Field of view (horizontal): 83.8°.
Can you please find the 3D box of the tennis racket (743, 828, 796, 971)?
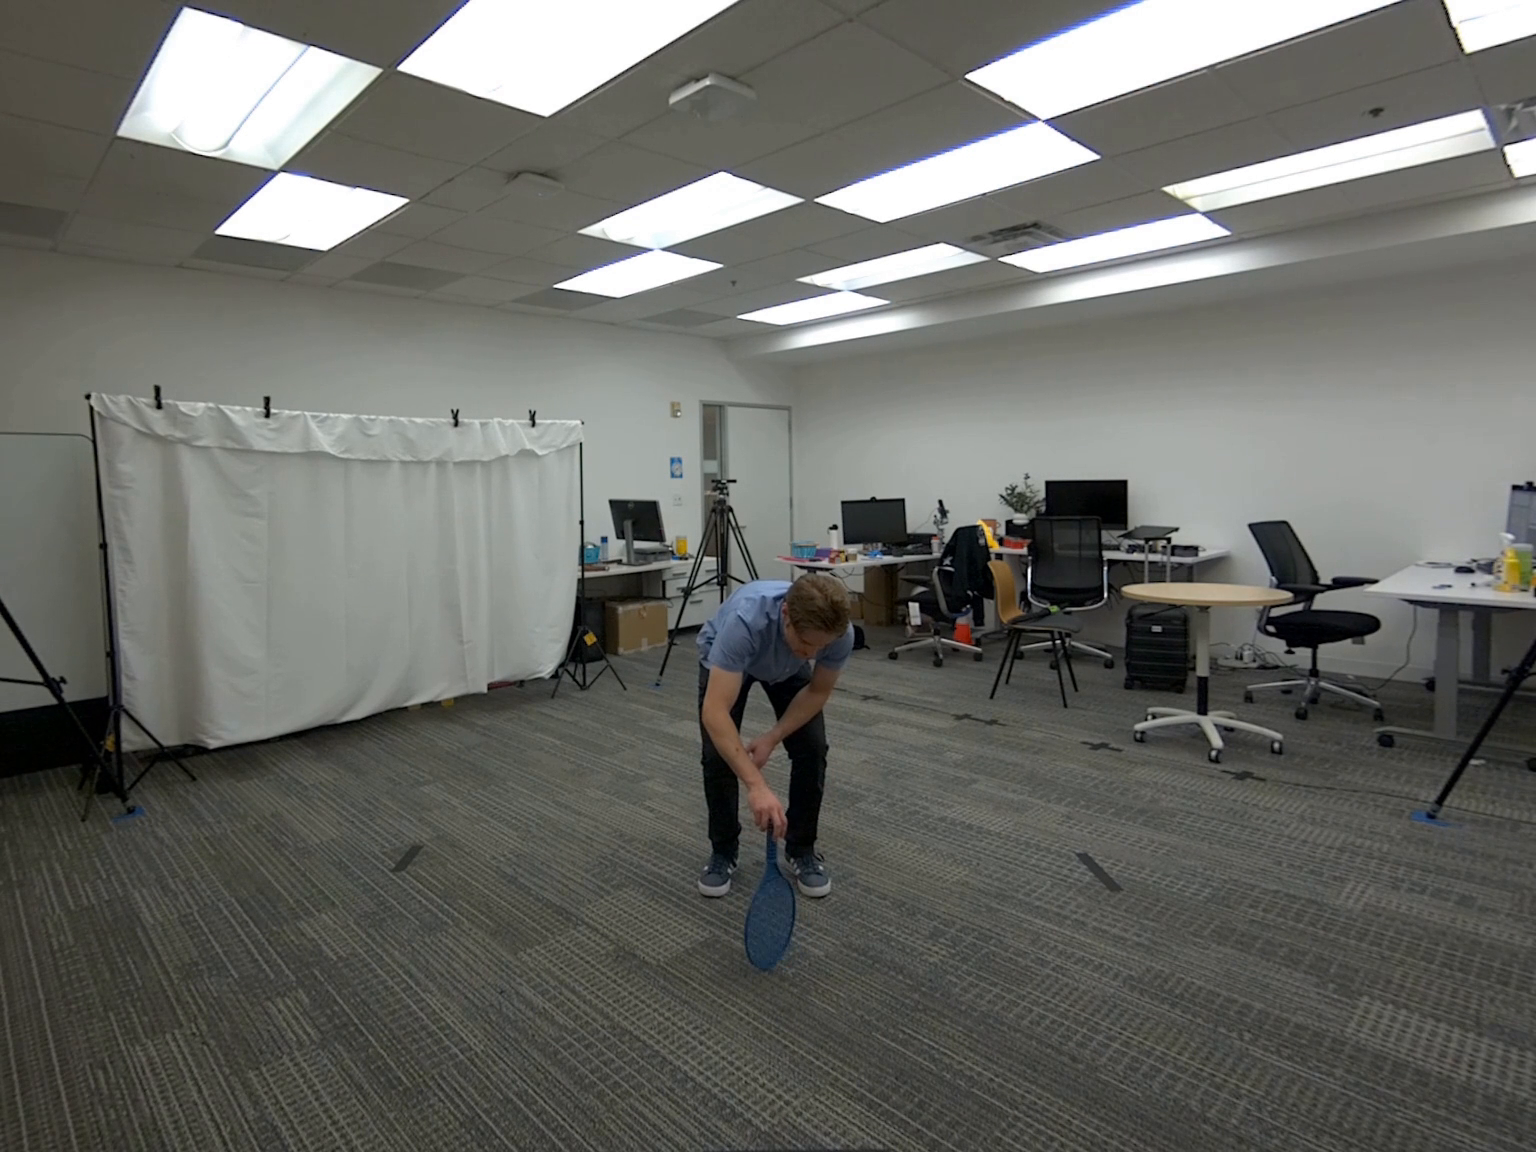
[{"bbox_3d":[0.017,0.909,2.441,0.208,0.432,0.033,0,3,-42],"label":"tennis racket"}]
